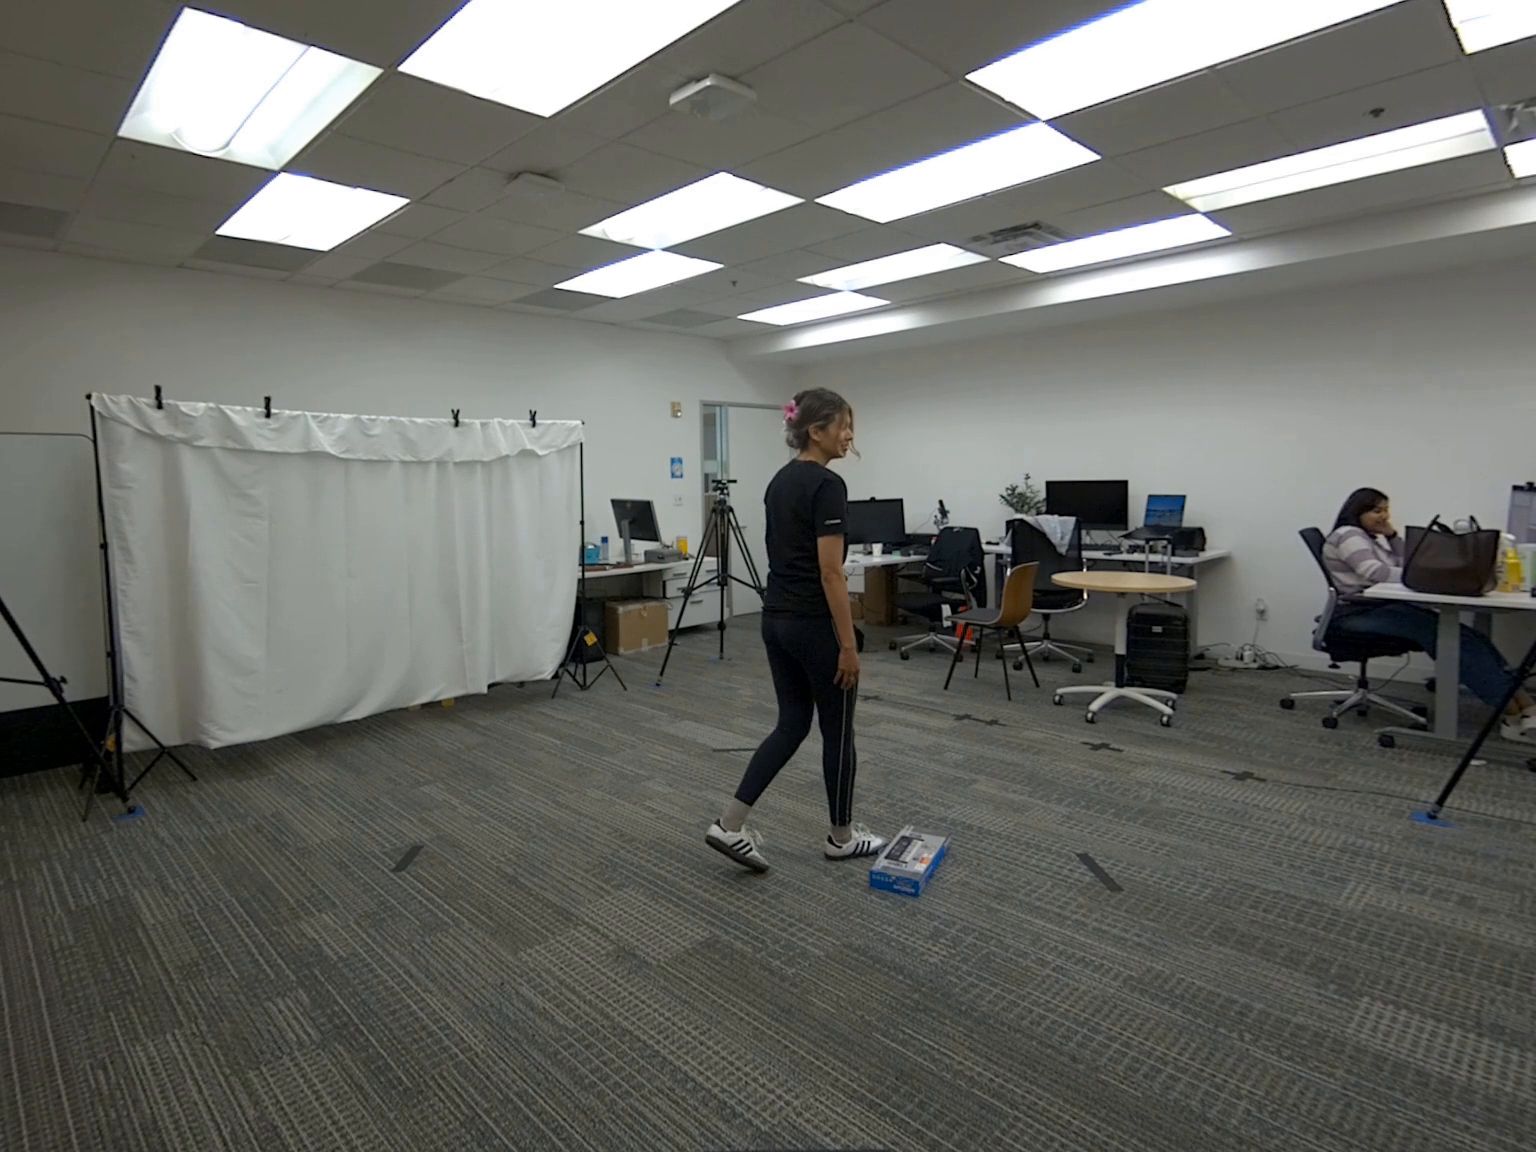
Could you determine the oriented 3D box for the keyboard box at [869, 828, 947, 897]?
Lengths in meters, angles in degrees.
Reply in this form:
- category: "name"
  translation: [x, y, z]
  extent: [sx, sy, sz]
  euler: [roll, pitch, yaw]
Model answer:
- category: "keyboard box"
  translation: [0.519, 1.012, 3.063]
  extent: [0.180, 0.059, 0.428]
  euler: [3, 7, 27]
